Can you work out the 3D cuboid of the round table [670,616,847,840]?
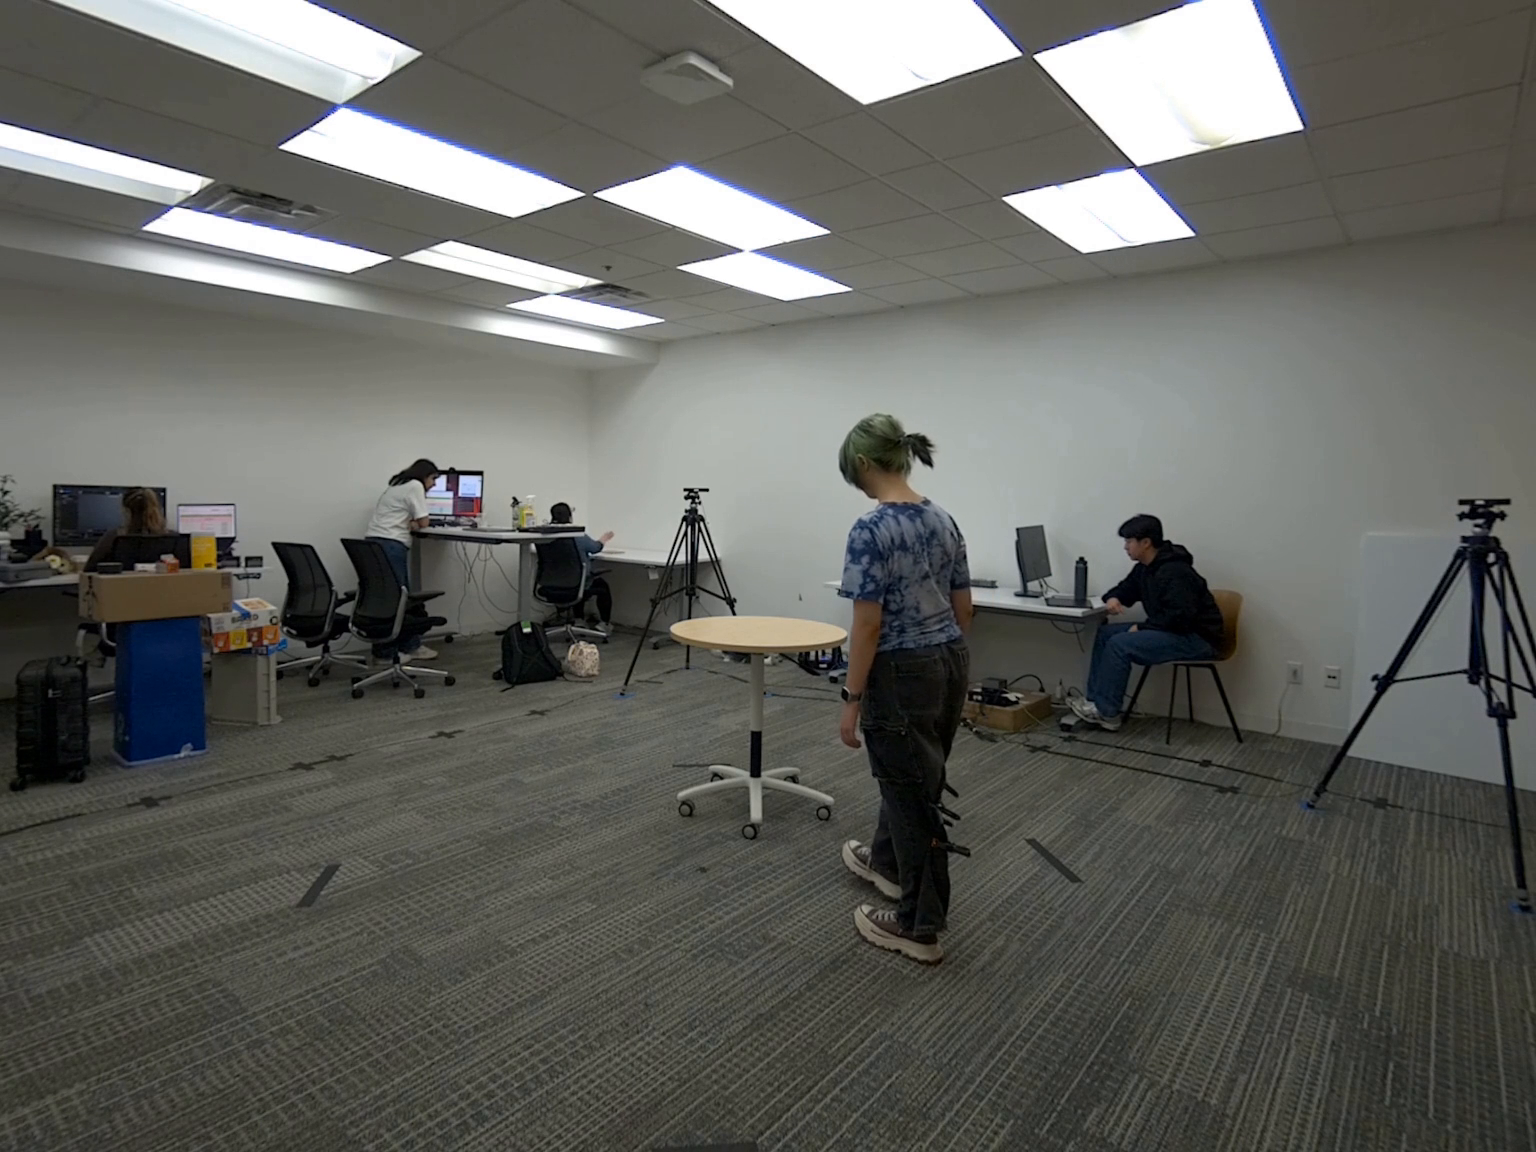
[{"bbox_3d":[-0.066,0.626,3.705,0.763,0.791,0.768,1,4,-2],"label":"round table"}]
